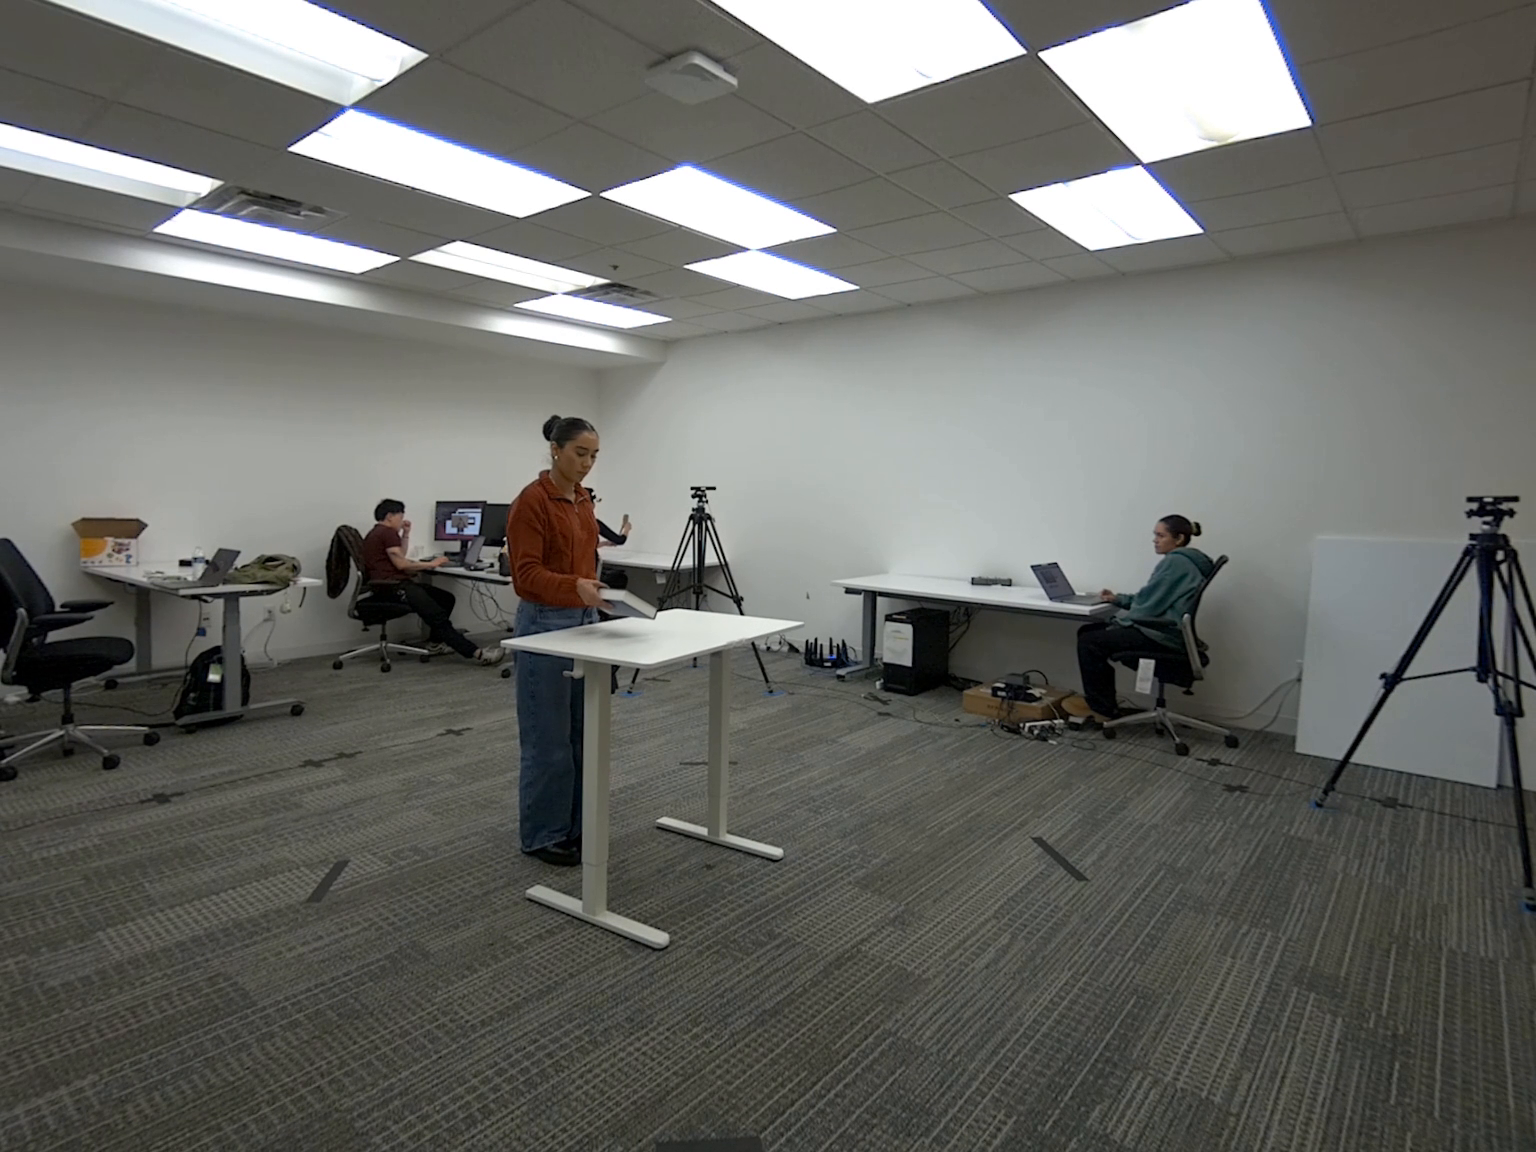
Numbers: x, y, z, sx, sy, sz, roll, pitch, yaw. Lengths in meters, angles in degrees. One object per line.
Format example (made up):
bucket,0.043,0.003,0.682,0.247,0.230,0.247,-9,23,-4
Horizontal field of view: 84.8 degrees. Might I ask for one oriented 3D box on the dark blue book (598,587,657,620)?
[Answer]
dark blue book,-0.528,0.087,2.920,0.253,0.045,0.157,2,-24,47
